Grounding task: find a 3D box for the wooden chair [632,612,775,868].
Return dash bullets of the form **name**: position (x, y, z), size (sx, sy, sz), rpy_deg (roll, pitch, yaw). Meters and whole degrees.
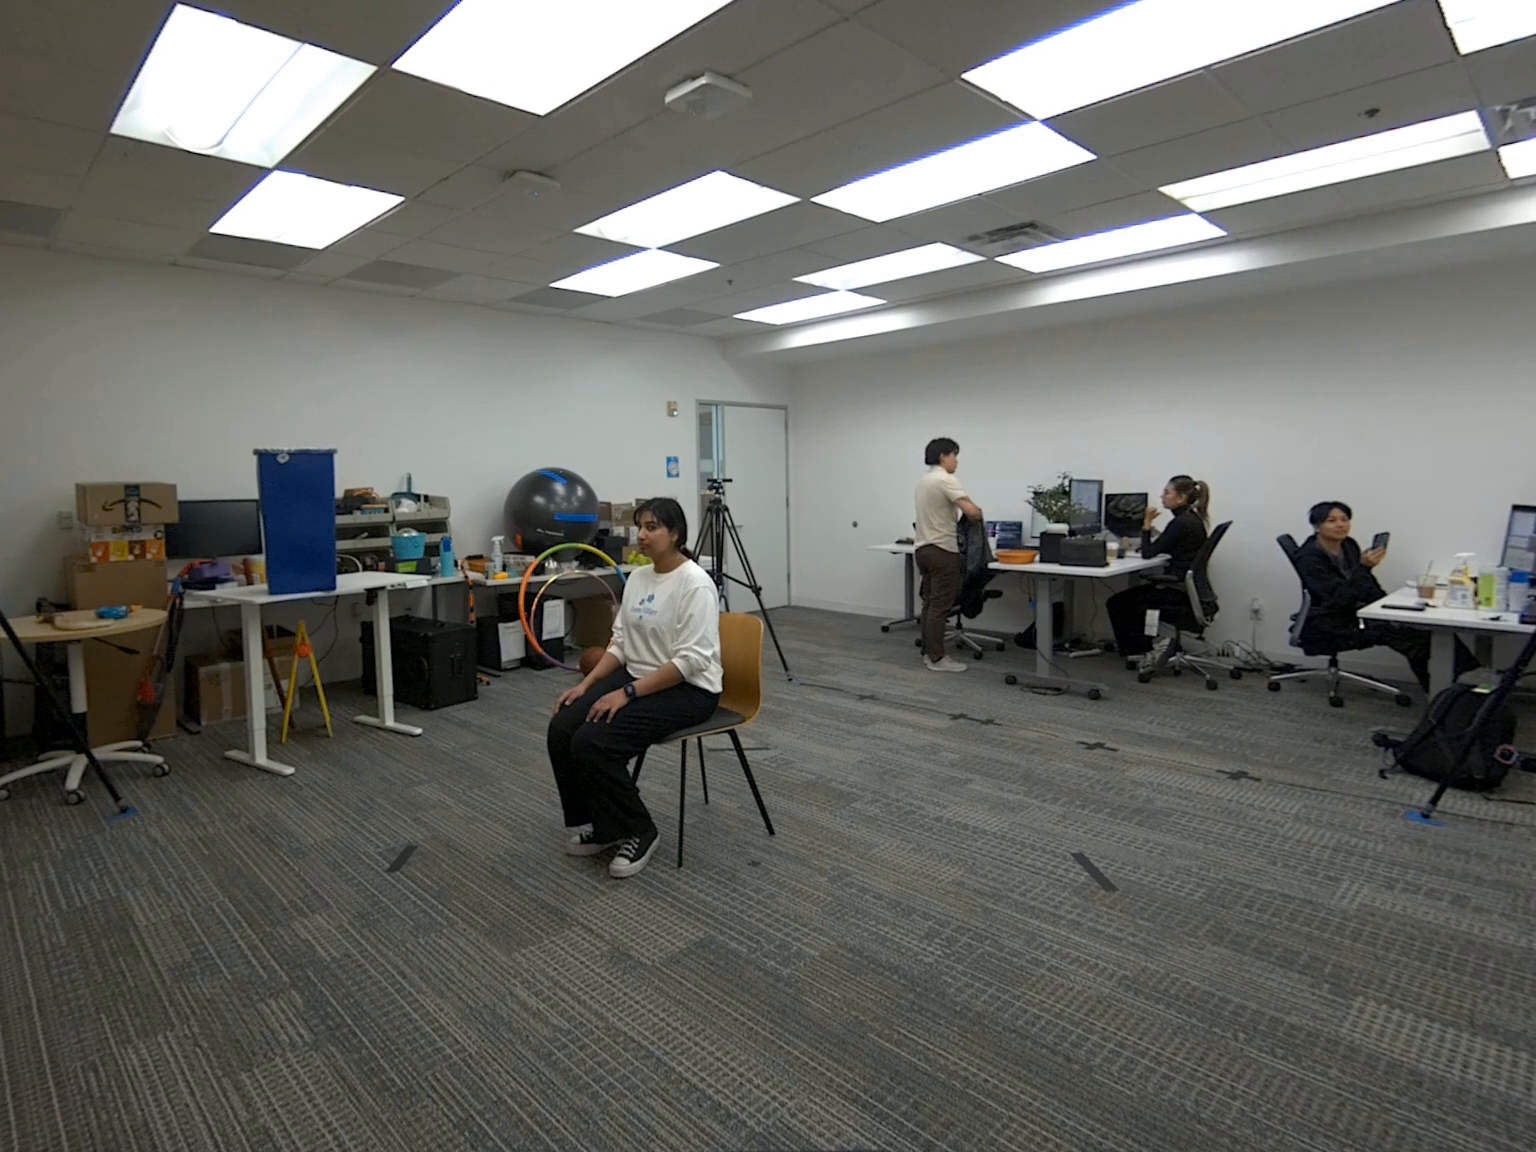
- **wooden chair**: position (-0.301, 0.592, 3.354), size (0.508, 0.876, 0.492), rpy_deg (1, 2, -39)
